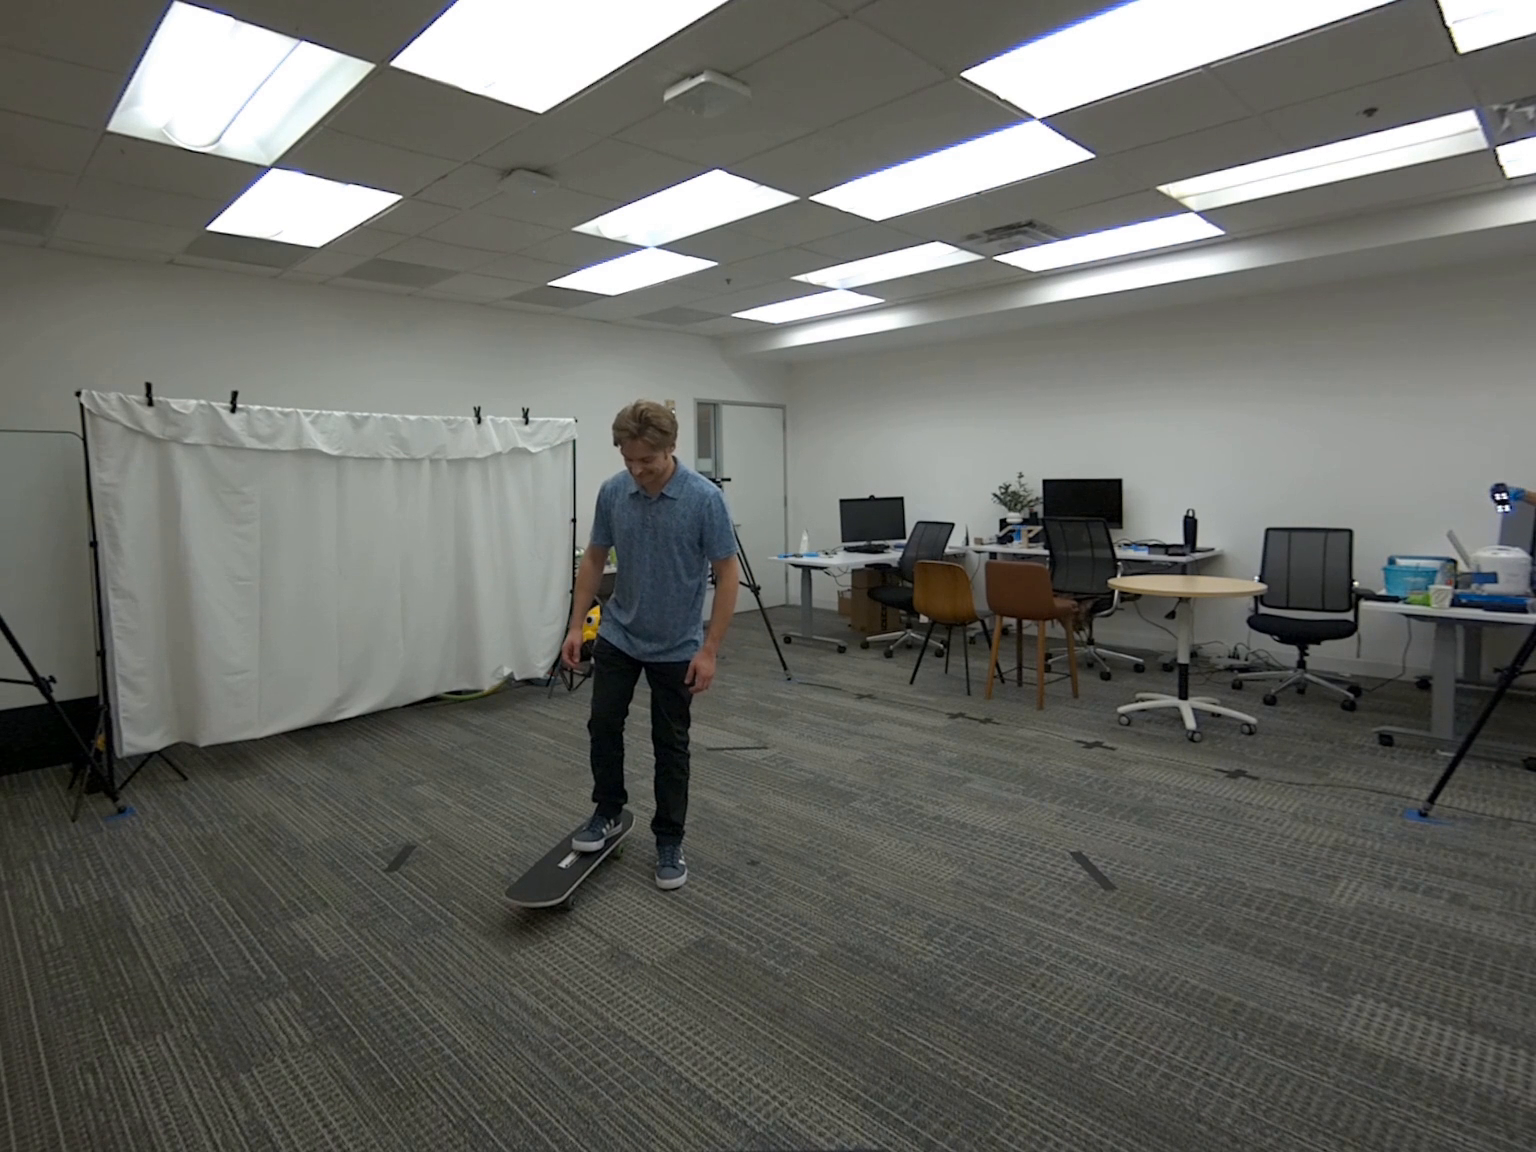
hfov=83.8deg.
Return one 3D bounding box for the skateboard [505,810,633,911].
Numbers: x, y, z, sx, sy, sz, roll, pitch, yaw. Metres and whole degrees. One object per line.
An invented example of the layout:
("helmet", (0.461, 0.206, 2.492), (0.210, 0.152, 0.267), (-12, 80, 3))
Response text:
("skateboard", (-0.670, 1.008, 2.992), (0.196, 0.110, 0.778), (3, 7, 12))
